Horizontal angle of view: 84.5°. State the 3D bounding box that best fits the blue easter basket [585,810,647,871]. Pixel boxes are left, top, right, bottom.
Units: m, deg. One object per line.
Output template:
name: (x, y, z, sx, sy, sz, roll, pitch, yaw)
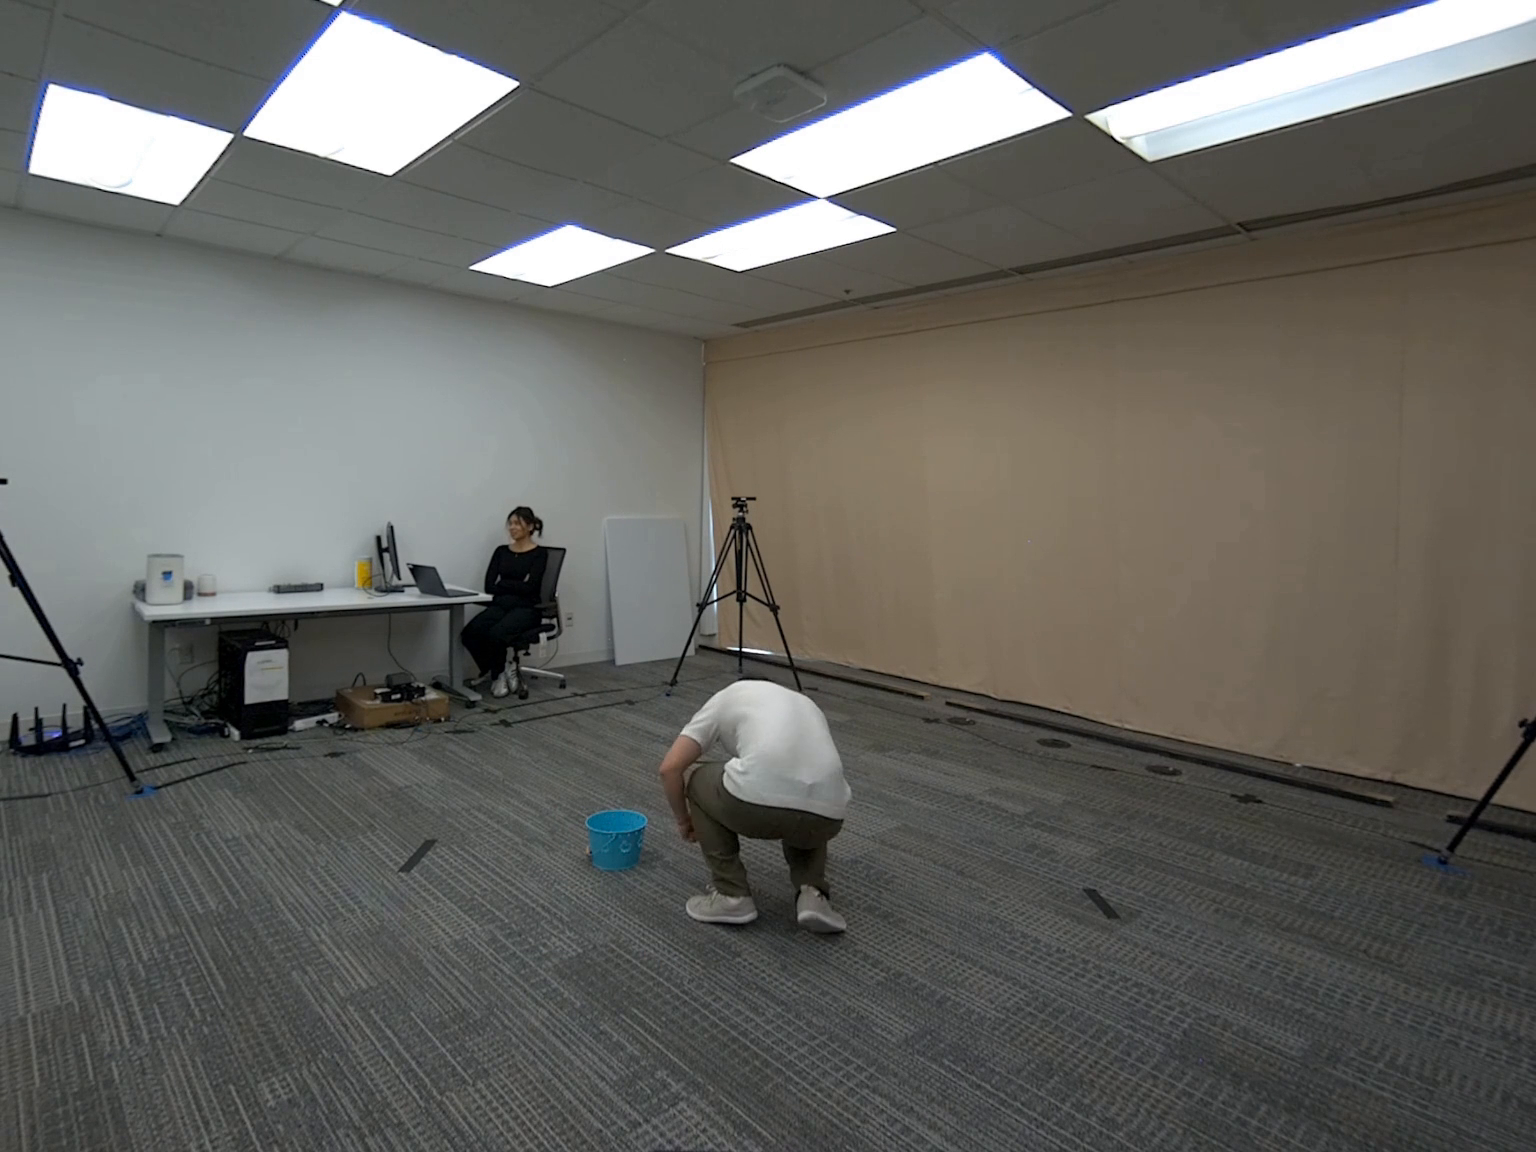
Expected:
blue easter basket: (-0.589, 1.006, 3.220, 0.243, 0.155, 0.244, 3, 3, -1)
